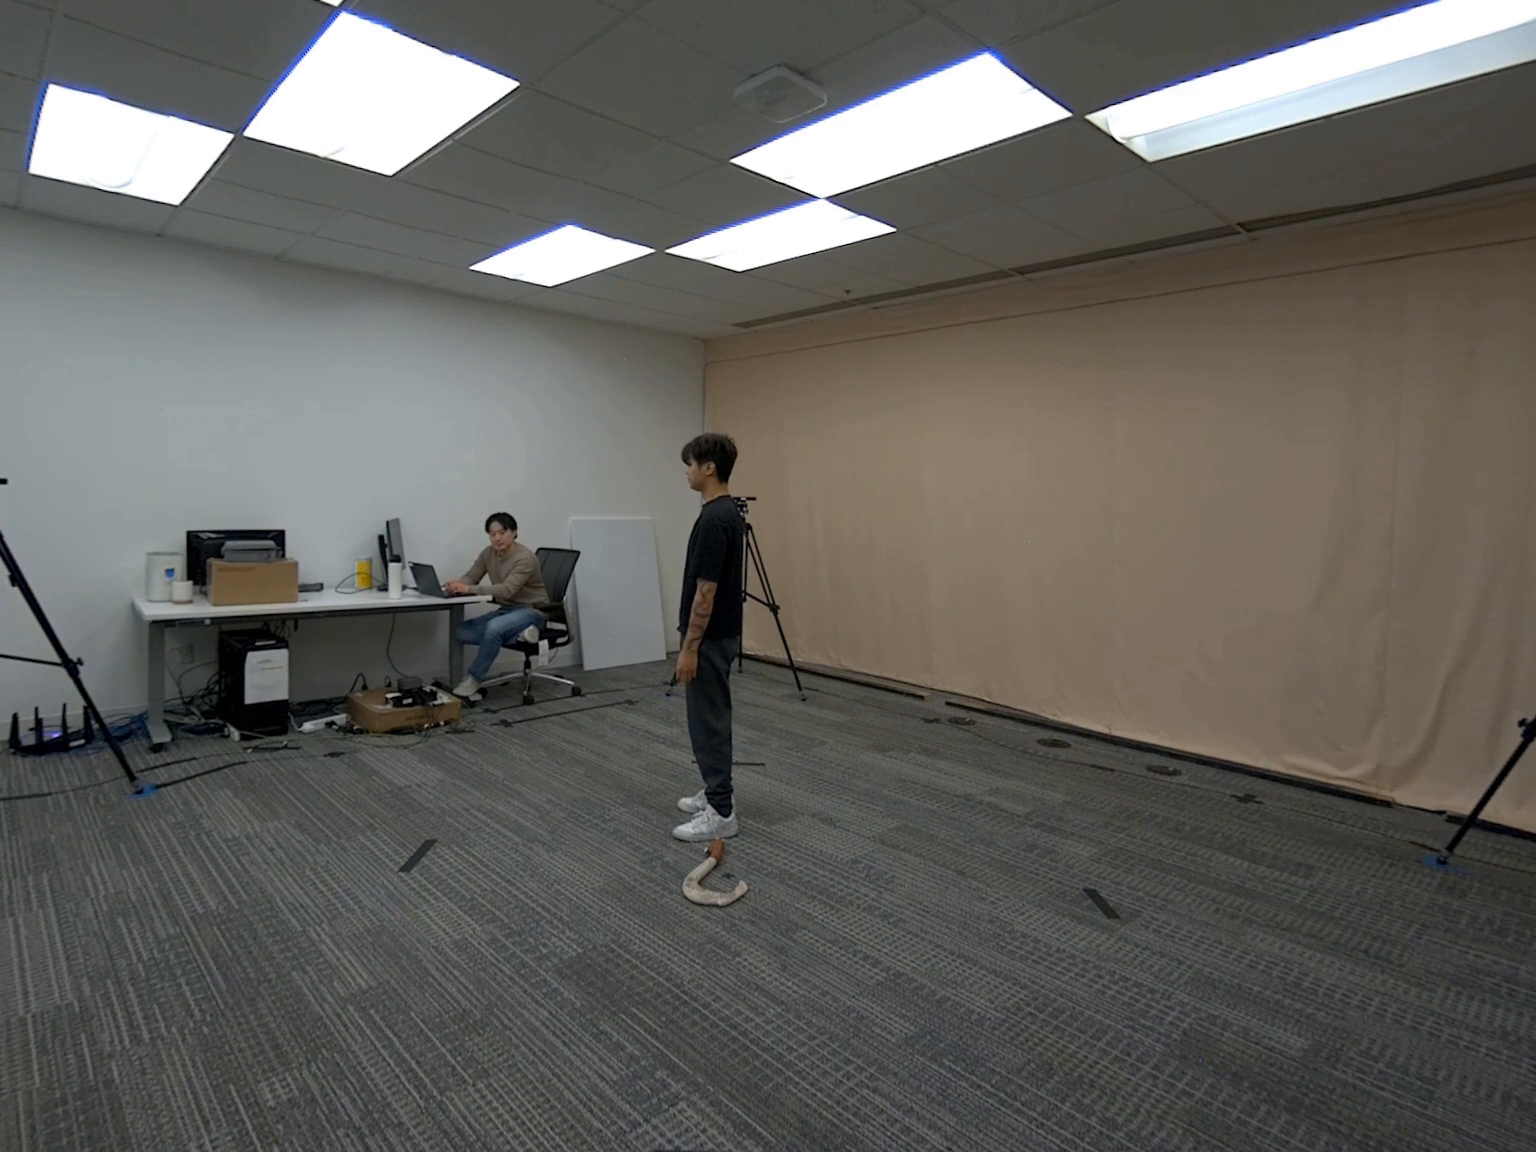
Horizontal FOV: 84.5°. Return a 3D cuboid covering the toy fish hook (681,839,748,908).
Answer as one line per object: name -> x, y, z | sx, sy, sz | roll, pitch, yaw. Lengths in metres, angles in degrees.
toy fish hook -> -0.184, 1.093, 3.110 | 0.226, 0.048, 0.505 | 10, 7, 7
